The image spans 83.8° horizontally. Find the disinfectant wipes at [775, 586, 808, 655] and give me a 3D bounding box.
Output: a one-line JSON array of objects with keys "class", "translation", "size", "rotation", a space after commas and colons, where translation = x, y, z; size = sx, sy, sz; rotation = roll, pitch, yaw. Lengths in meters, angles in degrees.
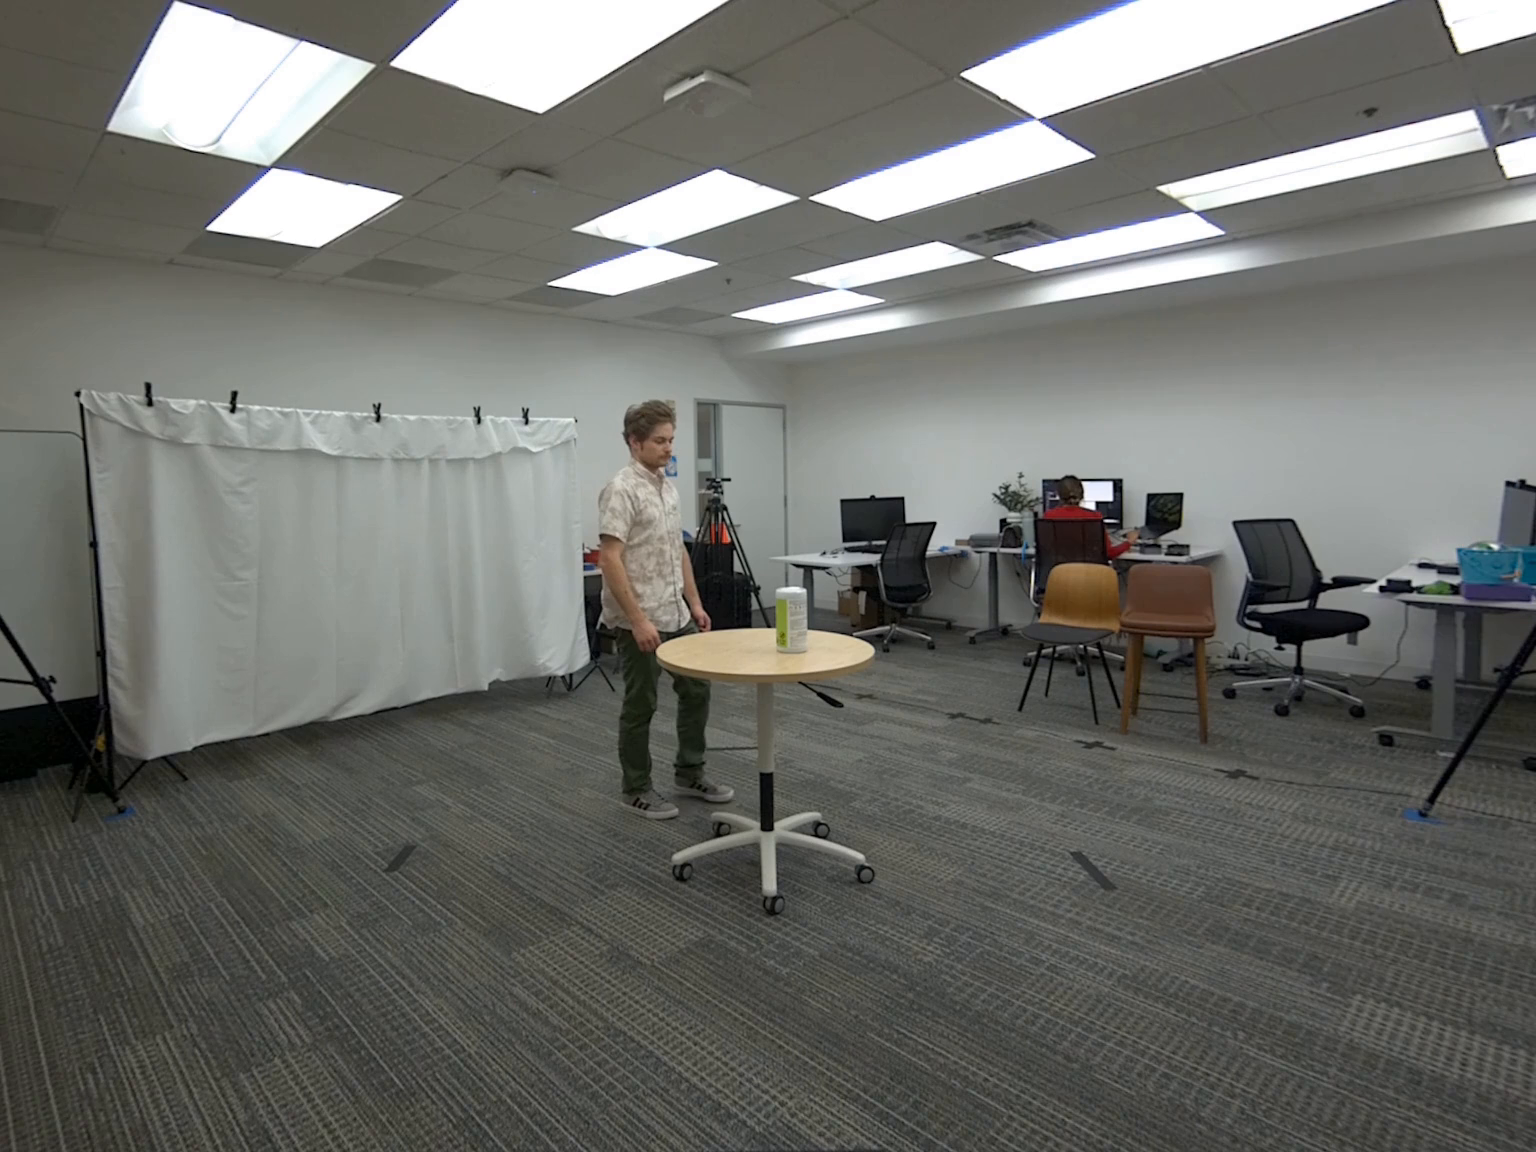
[{"class": "disinfectant wipes", "translation": [0.088, 0.154, 2.970], "size": [0.118, 0.217, 0.118], "rotation": [-1, 4, -2]}]
